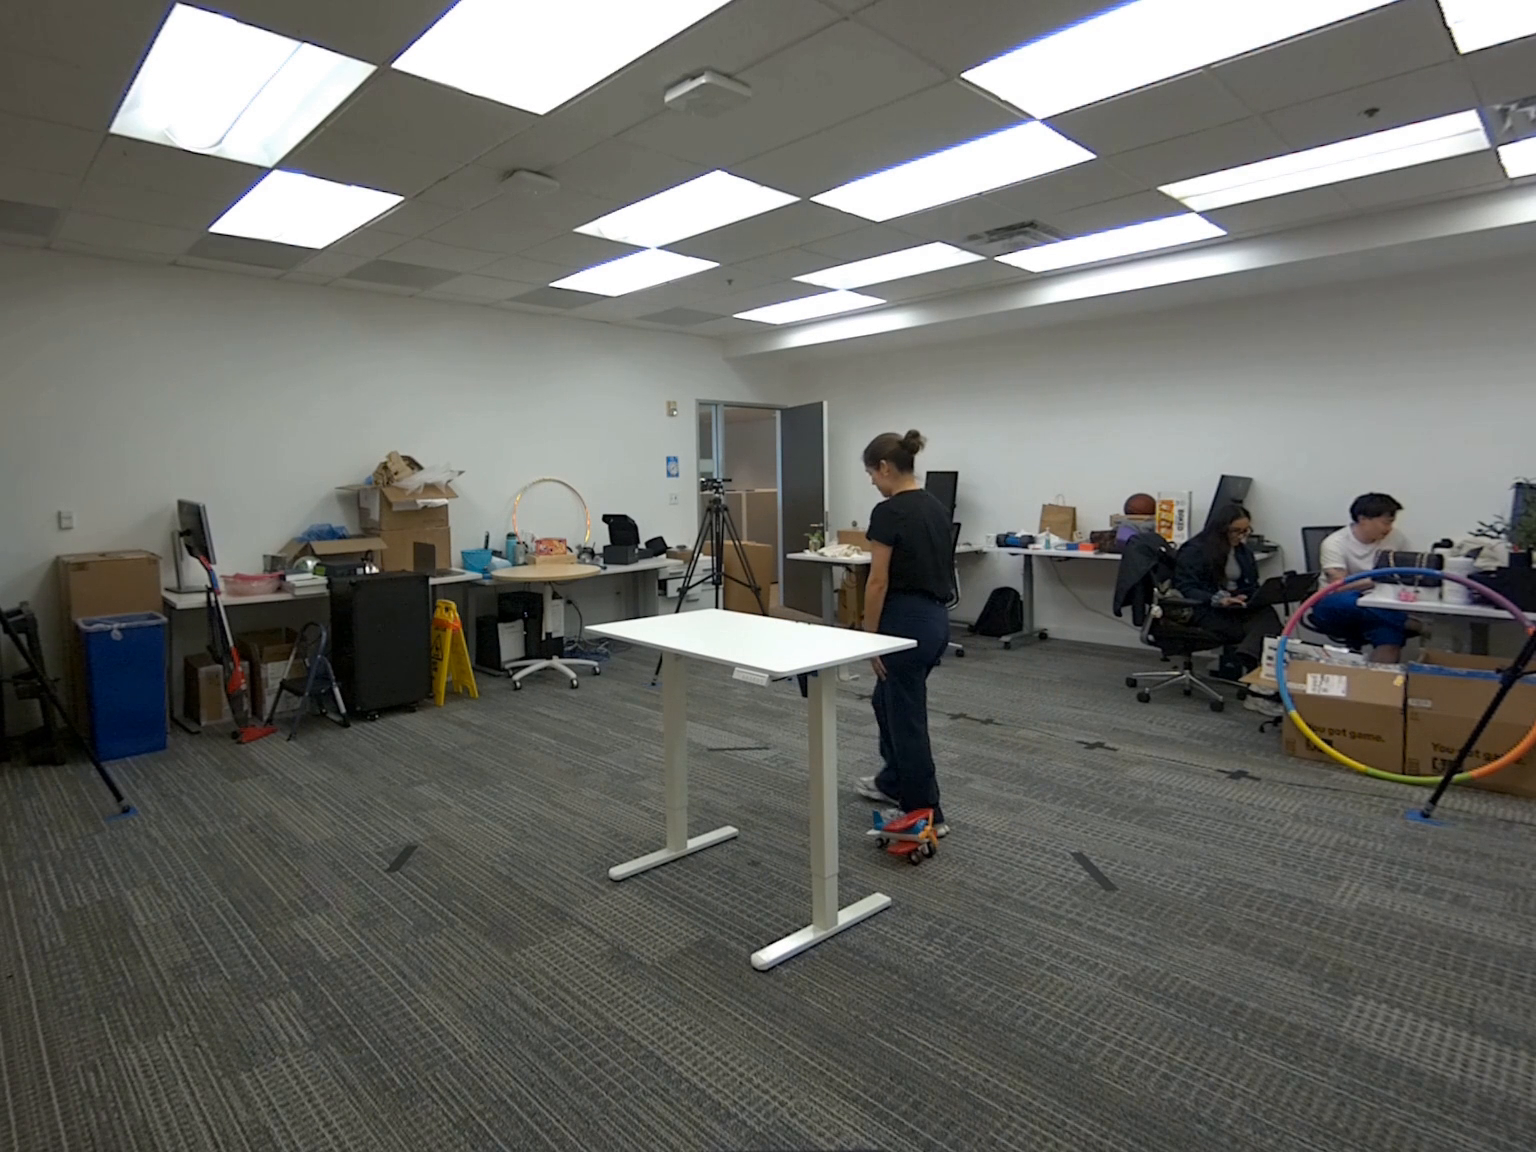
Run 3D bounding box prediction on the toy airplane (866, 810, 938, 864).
[{"bbox_3d":[0.487,0.953,3.163,0.264,0.156,0.248,2,7,17],"label":"toy airplane"}]
